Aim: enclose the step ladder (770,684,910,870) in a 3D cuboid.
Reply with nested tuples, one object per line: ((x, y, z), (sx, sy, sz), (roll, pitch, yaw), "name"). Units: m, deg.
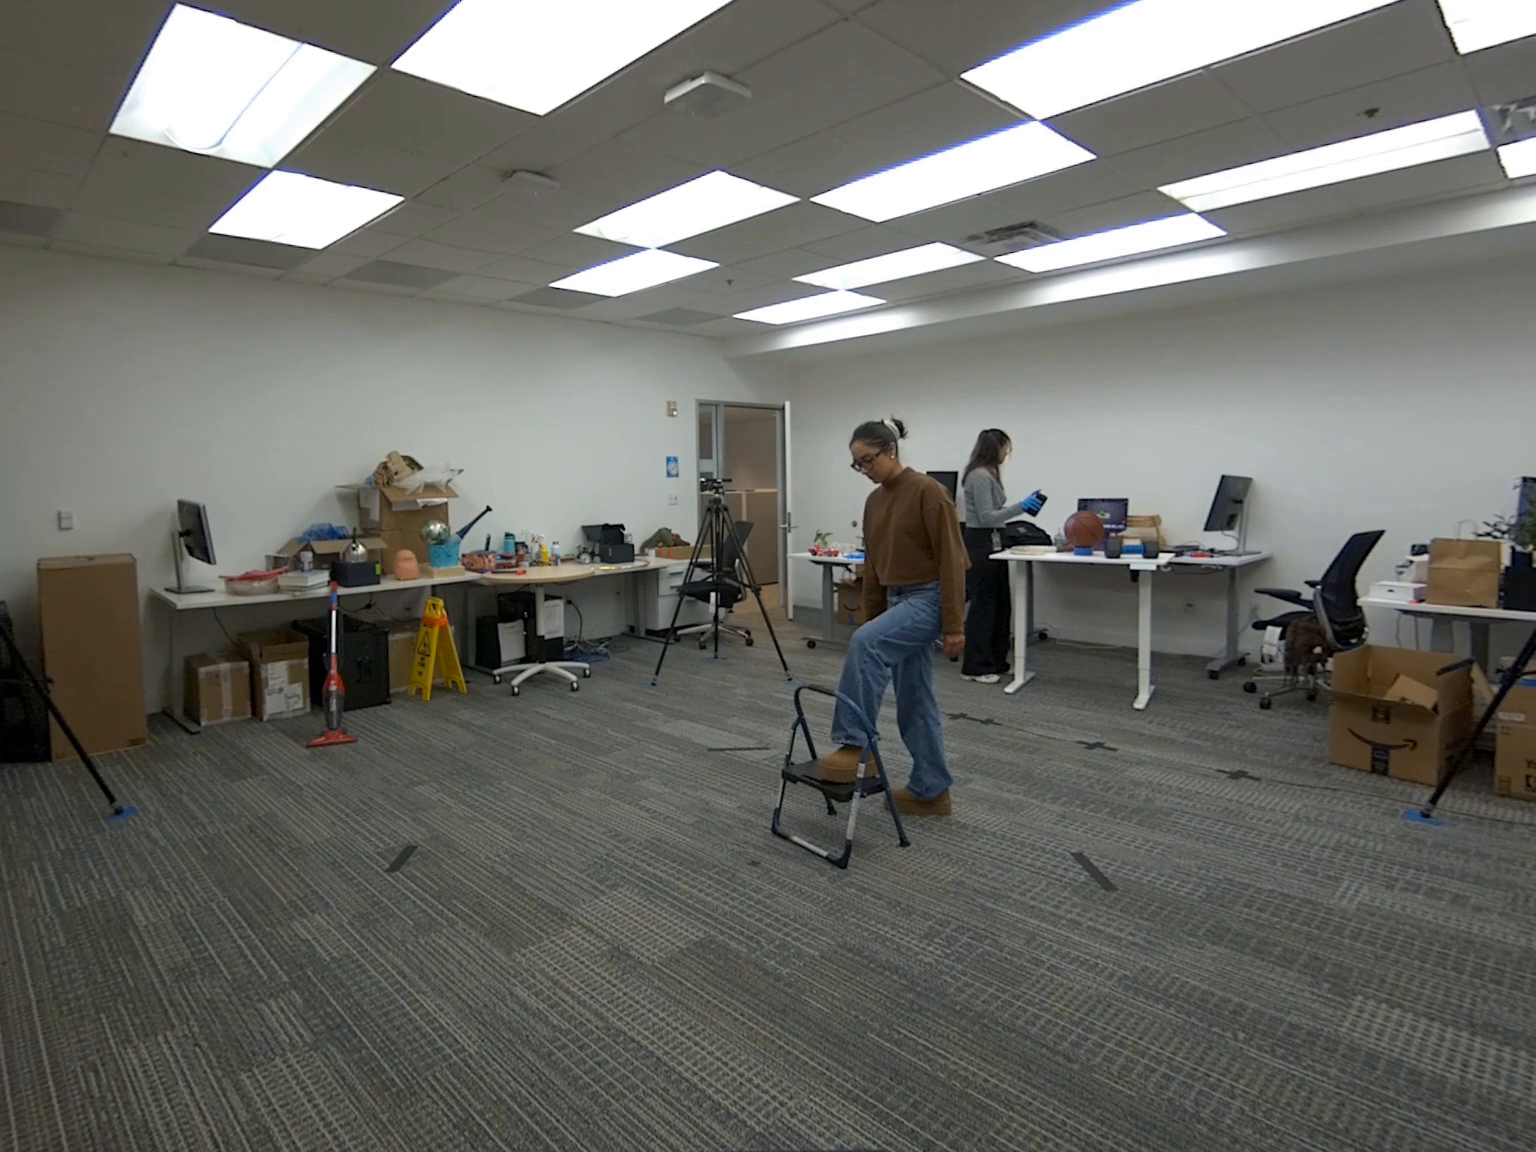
((0.269, 0.714, 3.286), (0.340, 0.603, 0.444), (-4, 6, -38), "step ladder")
